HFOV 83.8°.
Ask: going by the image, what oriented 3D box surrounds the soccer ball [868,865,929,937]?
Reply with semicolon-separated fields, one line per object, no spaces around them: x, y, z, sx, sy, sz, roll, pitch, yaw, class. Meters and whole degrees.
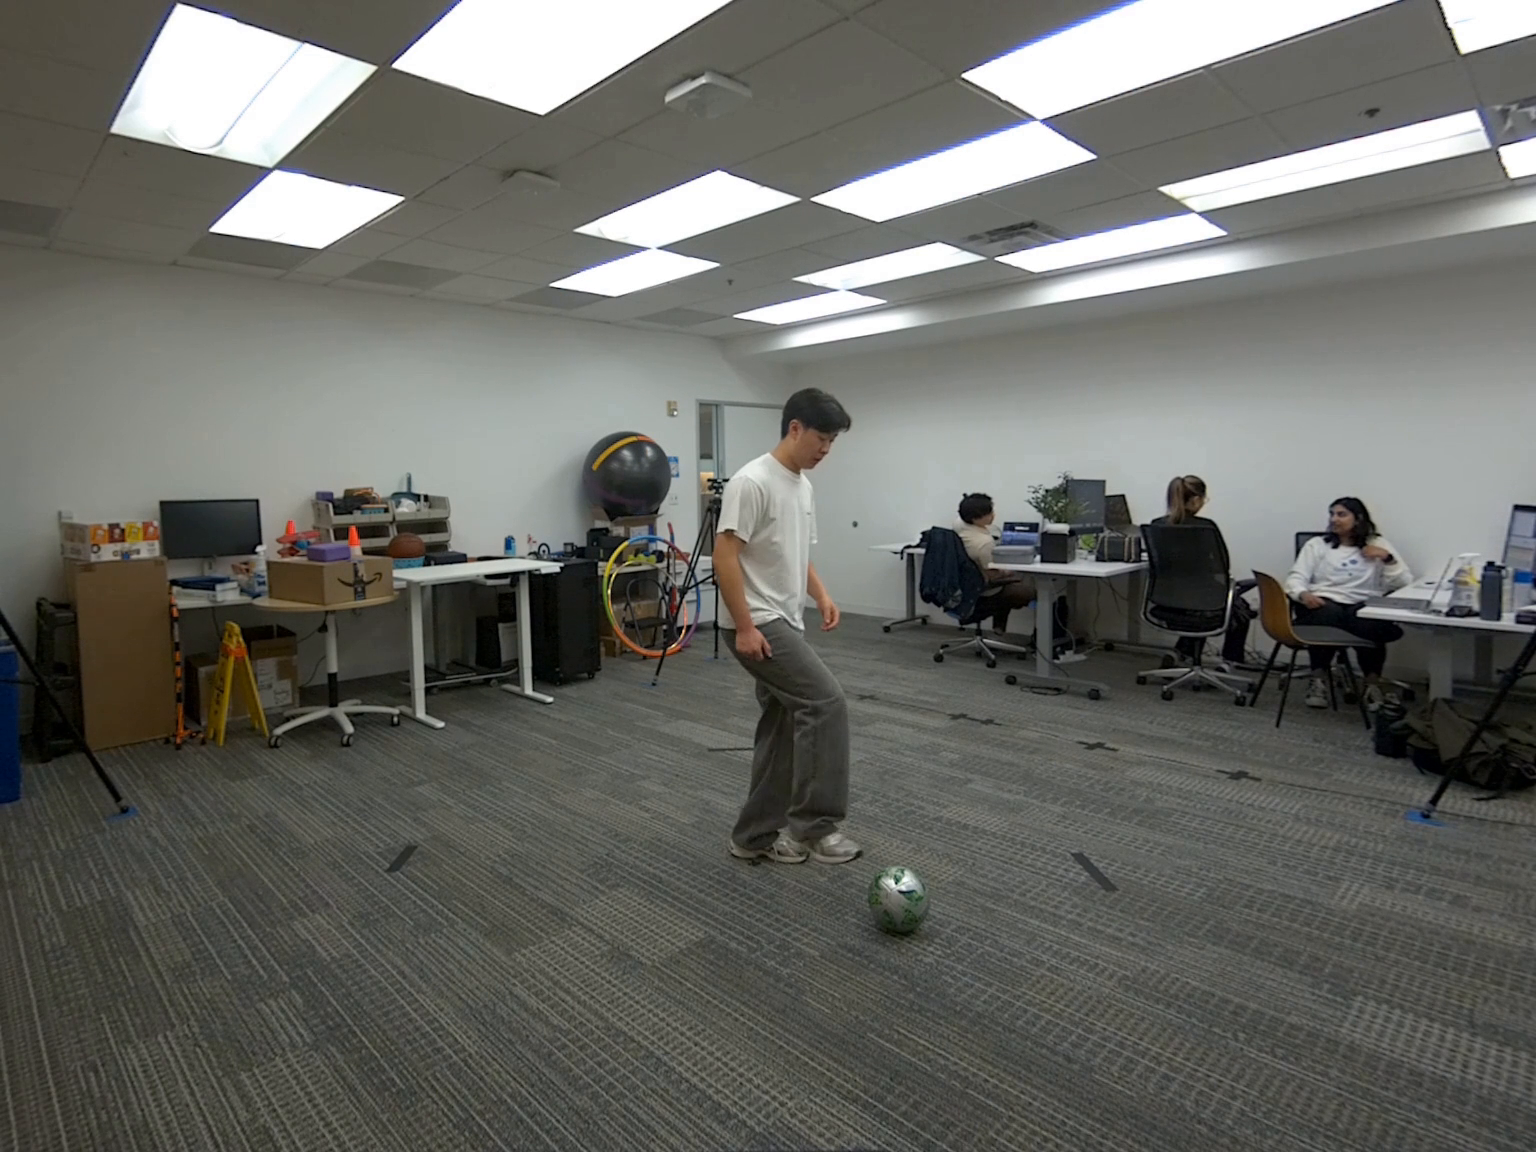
0.407;0.998;2.643;0.187;0.187;0.188;-1;5;-2;soccer ball
